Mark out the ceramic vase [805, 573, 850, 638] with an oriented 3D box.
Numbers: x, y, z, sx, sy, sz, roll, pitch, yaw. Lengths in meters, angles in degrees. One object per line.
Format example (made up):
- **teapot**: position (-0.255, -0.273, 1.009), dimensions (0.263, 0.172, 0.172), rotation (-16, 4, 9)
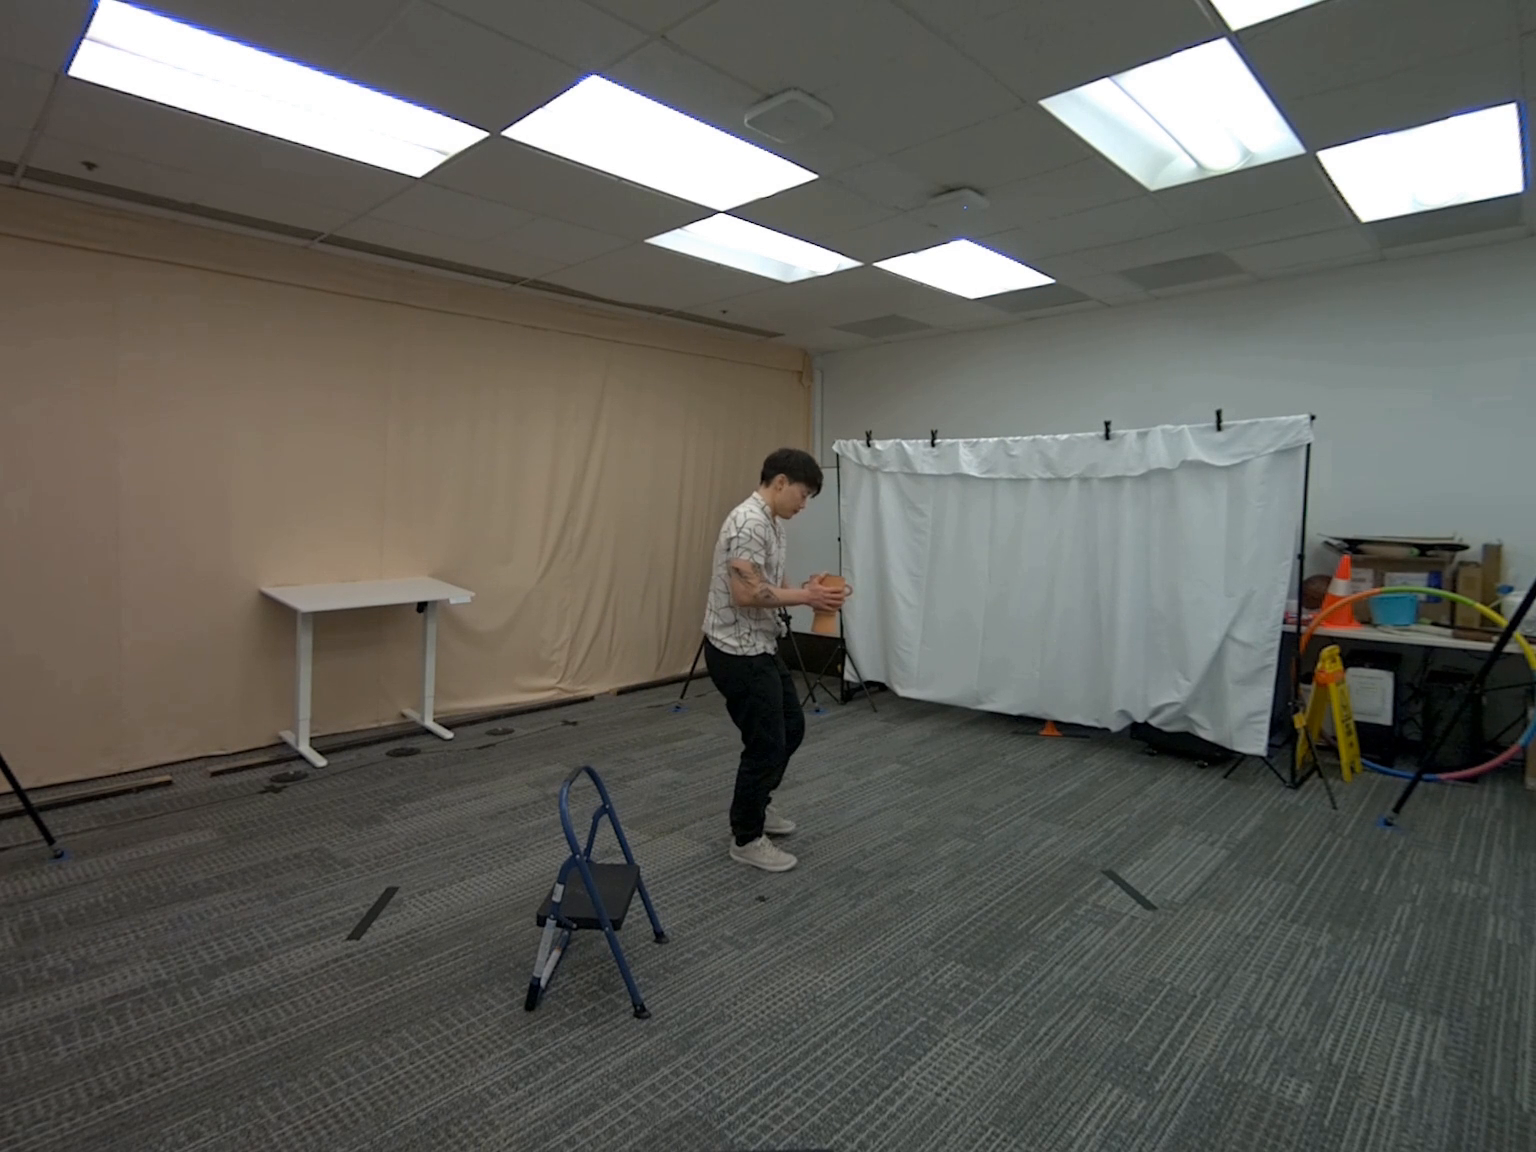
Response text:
- **ceramic vase**: position (0.216, 0.110, 3.208), dimensions (0.130, 0.220, 0.164), rotation (4, 0, -39)
